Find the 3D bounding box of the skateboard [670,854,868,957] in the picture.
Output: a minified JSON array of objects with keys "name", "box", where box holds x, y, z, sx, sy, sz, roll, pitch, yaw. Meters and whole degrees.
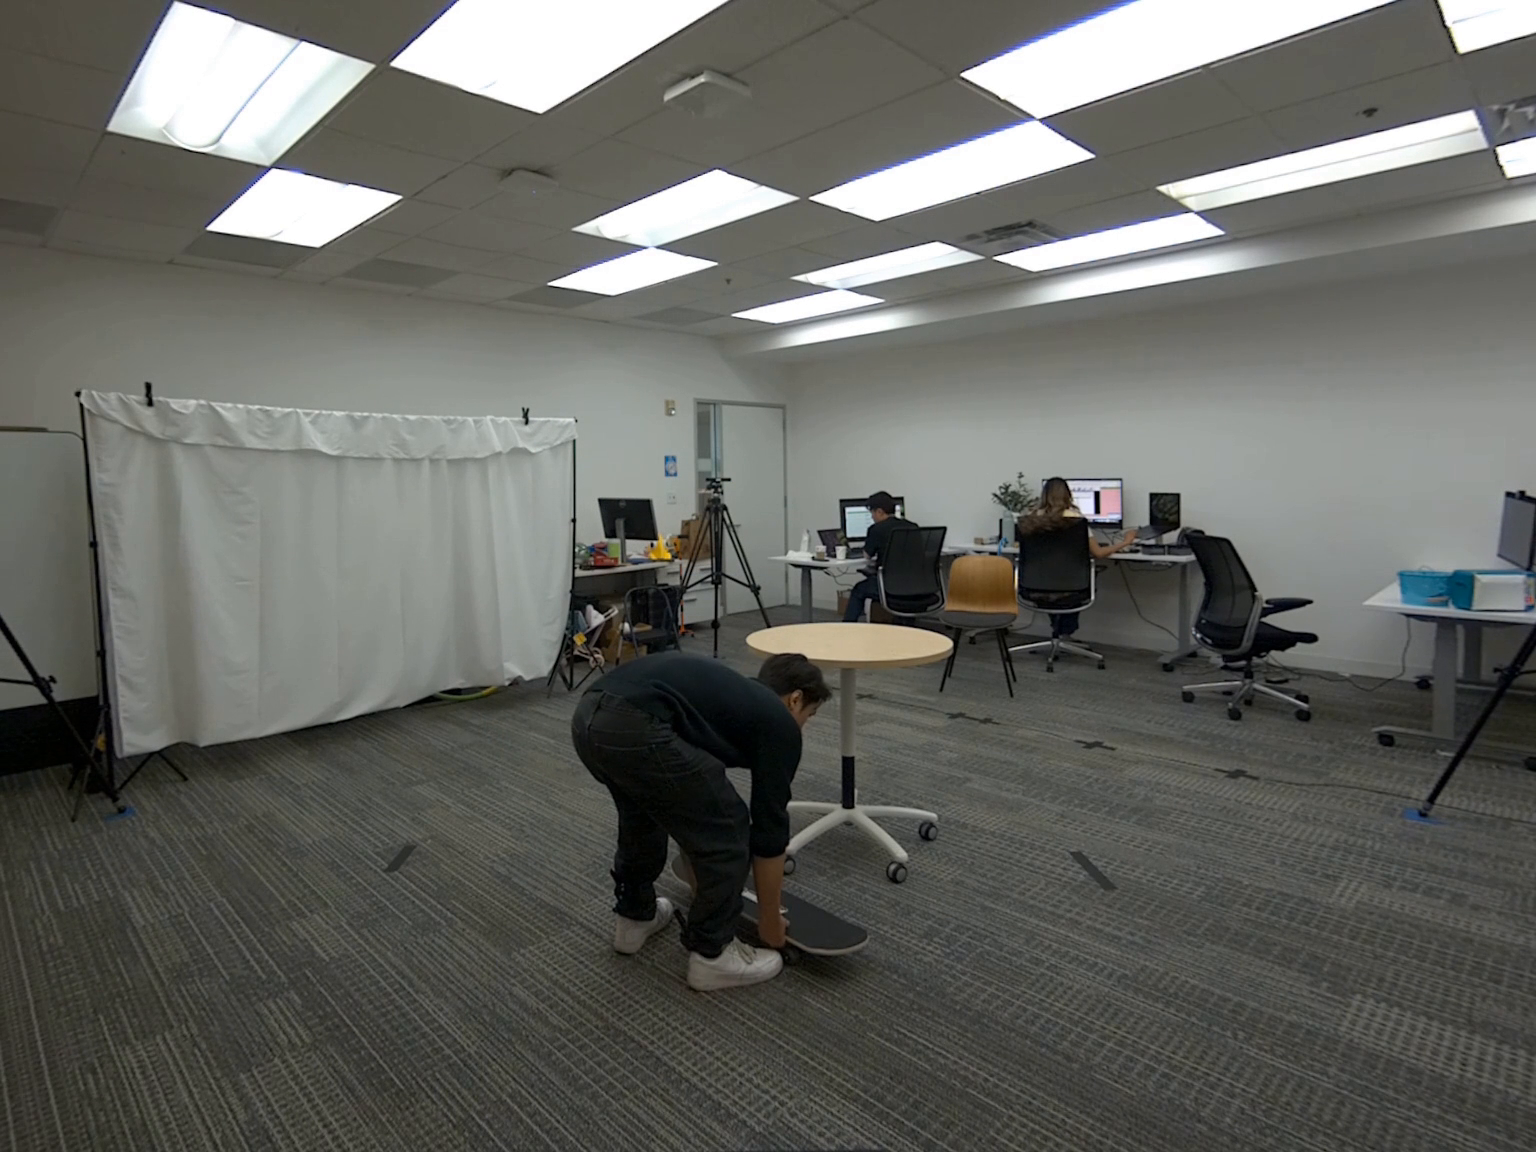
[{"name":"skateboard","box":[-0.020,1.039,2.649,0.188,0.110,0.810,-8,10,-43]}]
